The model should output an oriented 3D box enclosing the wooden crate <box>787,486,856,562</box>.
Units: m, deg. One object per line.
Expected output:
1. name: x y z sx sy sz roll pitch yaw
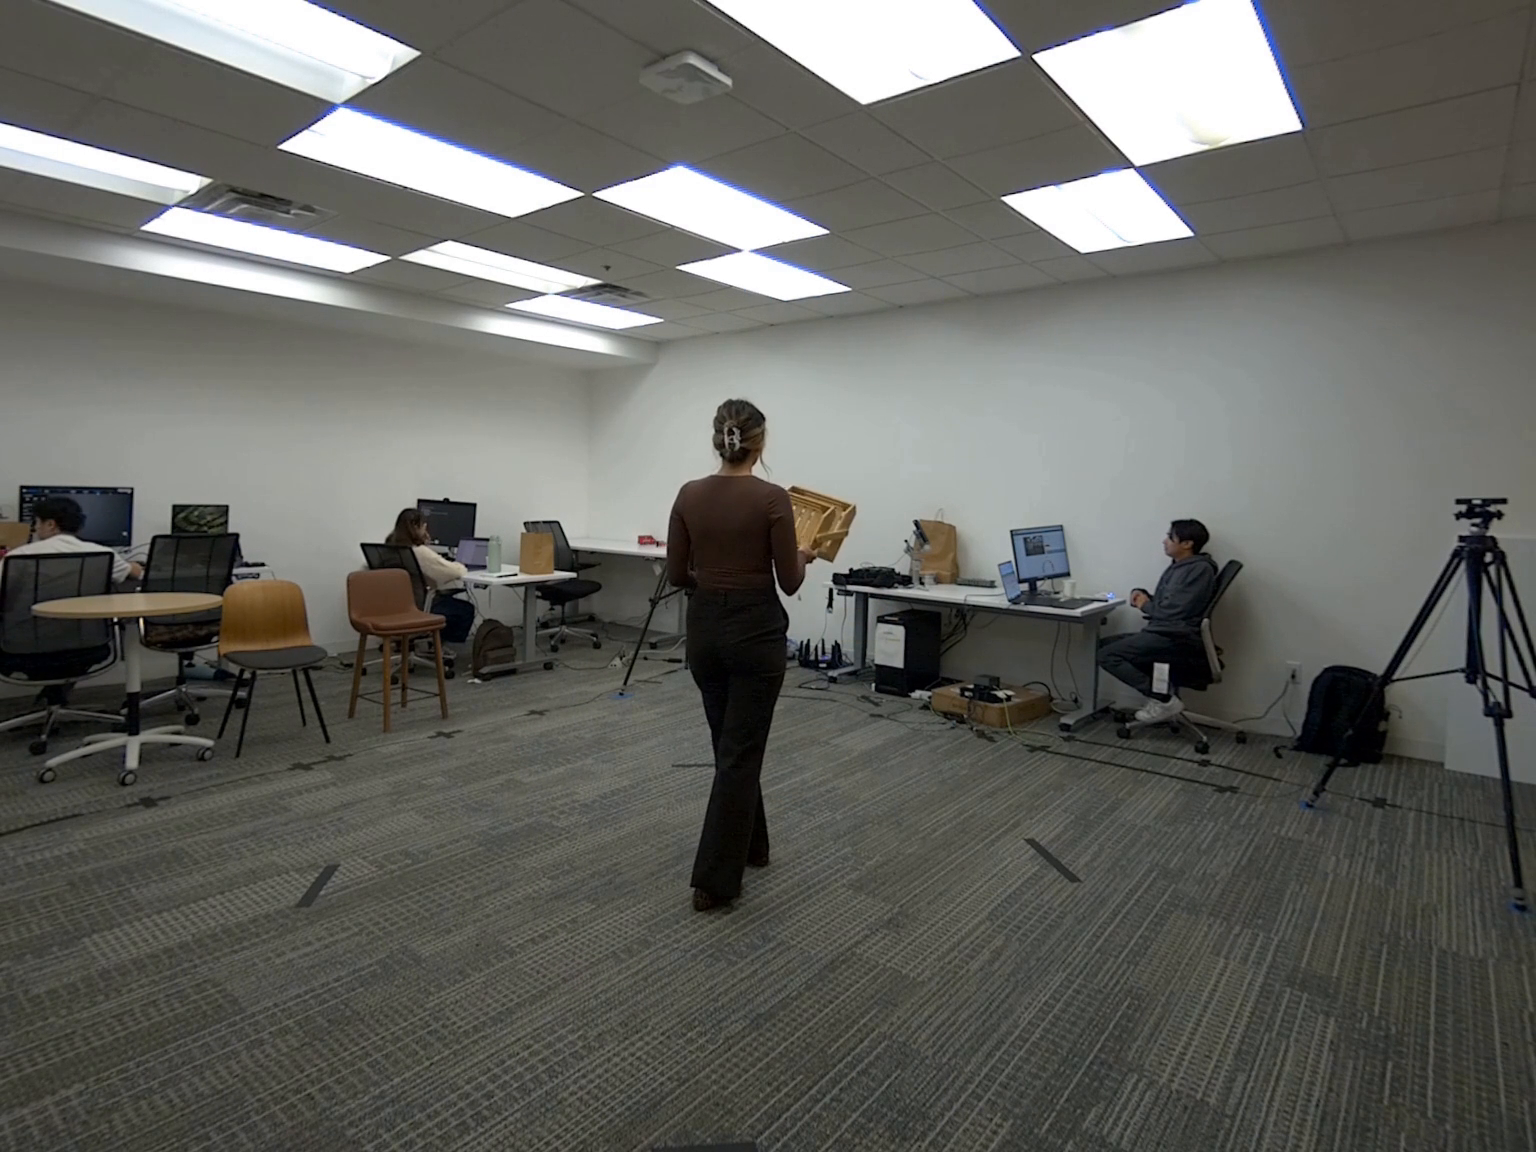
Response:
1. wooden crate: 0.123 -0.234 3.385 0.336 0.303 0.263 21 -12 29
